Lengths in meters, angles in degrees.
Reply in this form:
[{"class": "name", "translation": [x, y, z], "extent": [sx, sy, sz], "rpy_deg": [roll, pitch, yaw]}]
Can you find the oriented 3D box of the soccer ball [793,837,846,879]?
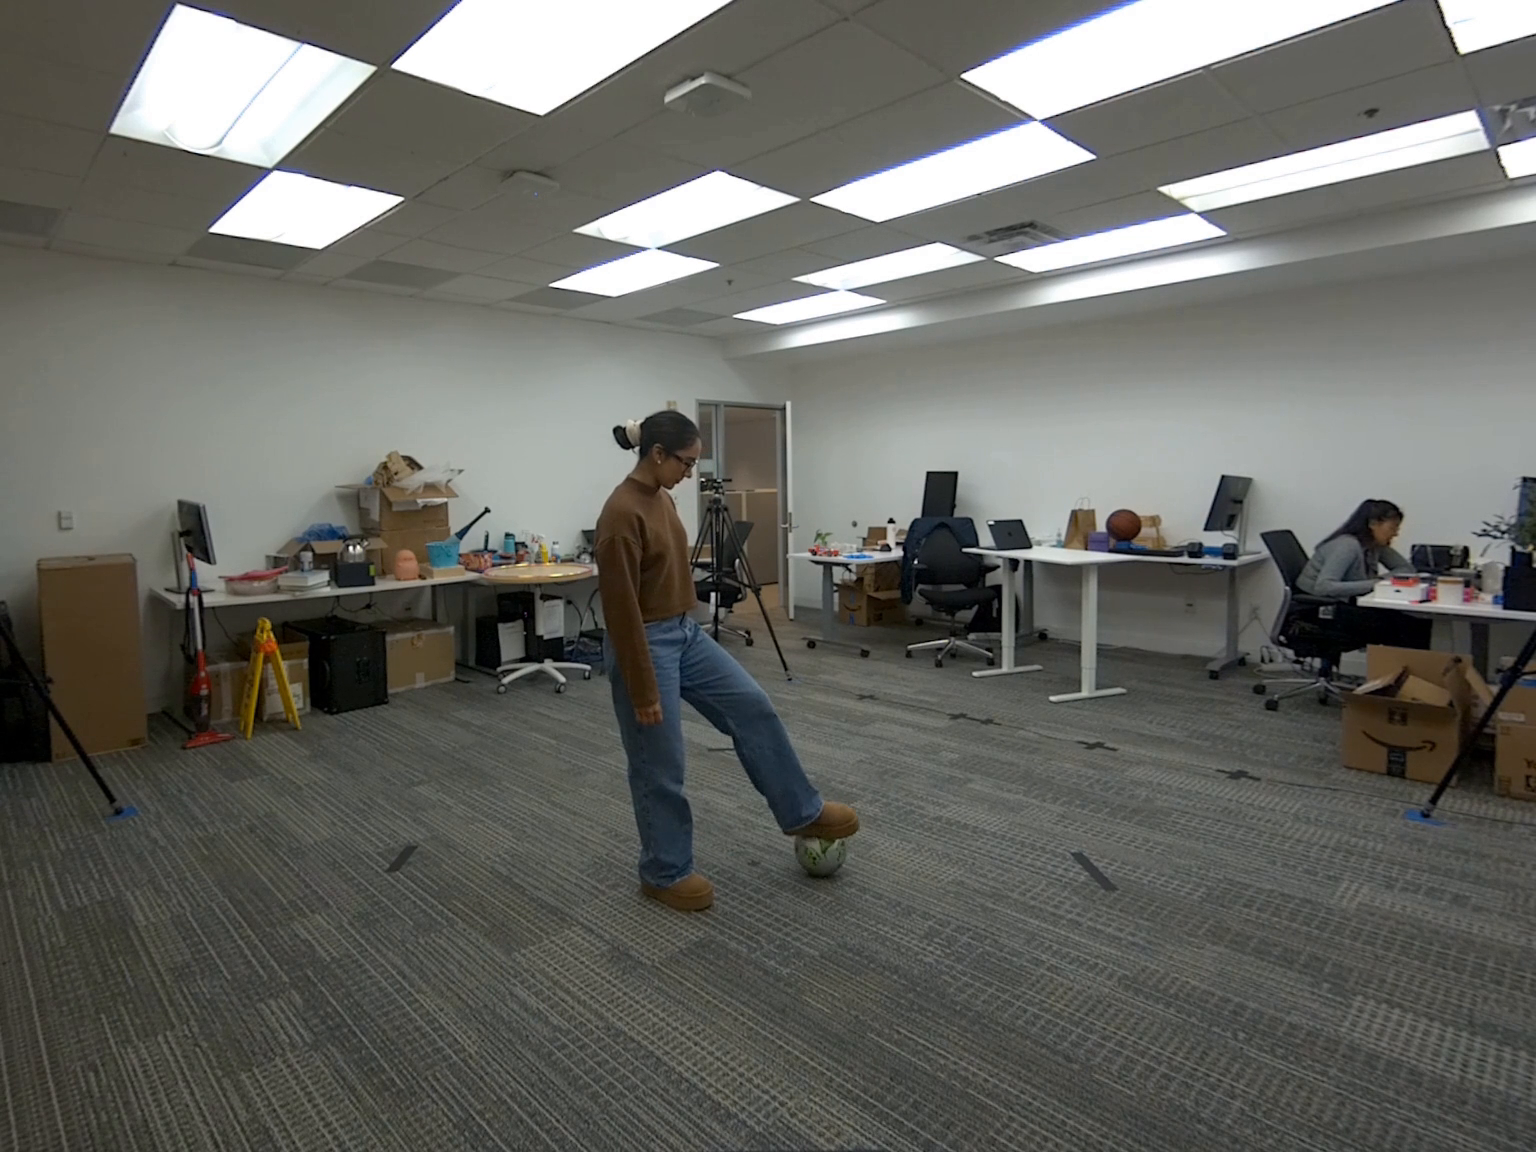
[{"class": "soccer ball", "translation": [0.185, 0.957, 3.016], "extent": [0.187, 0.187, 0.188], "rpy_deg": [-1, 5, -2]}]
